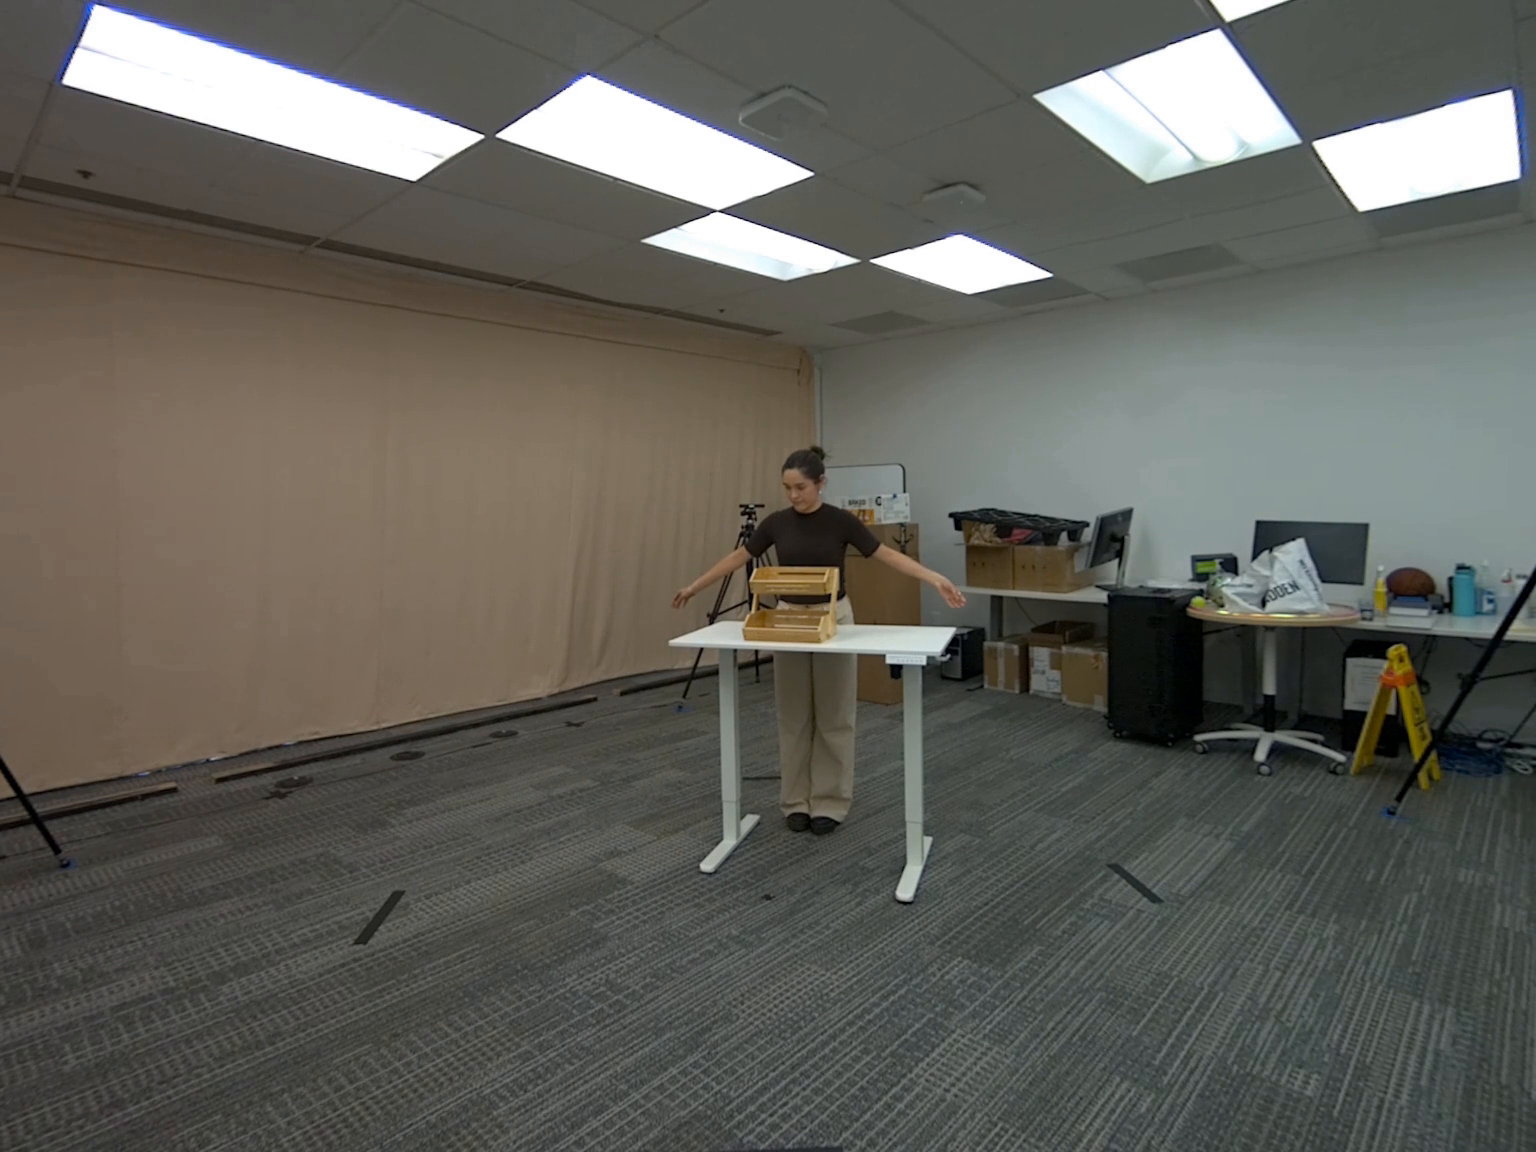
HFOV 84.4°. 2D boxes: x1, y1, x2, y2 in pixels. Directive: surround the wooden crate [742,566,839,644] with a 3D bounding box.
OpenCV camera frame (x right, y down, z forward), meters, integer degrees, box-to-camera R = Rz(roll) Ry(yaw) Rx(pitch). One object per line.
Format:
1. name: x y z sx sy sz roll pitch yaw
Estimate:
1. wooden crate: 0.097 0.102 3.232 0.331 0.273 0.296 0 3 20
